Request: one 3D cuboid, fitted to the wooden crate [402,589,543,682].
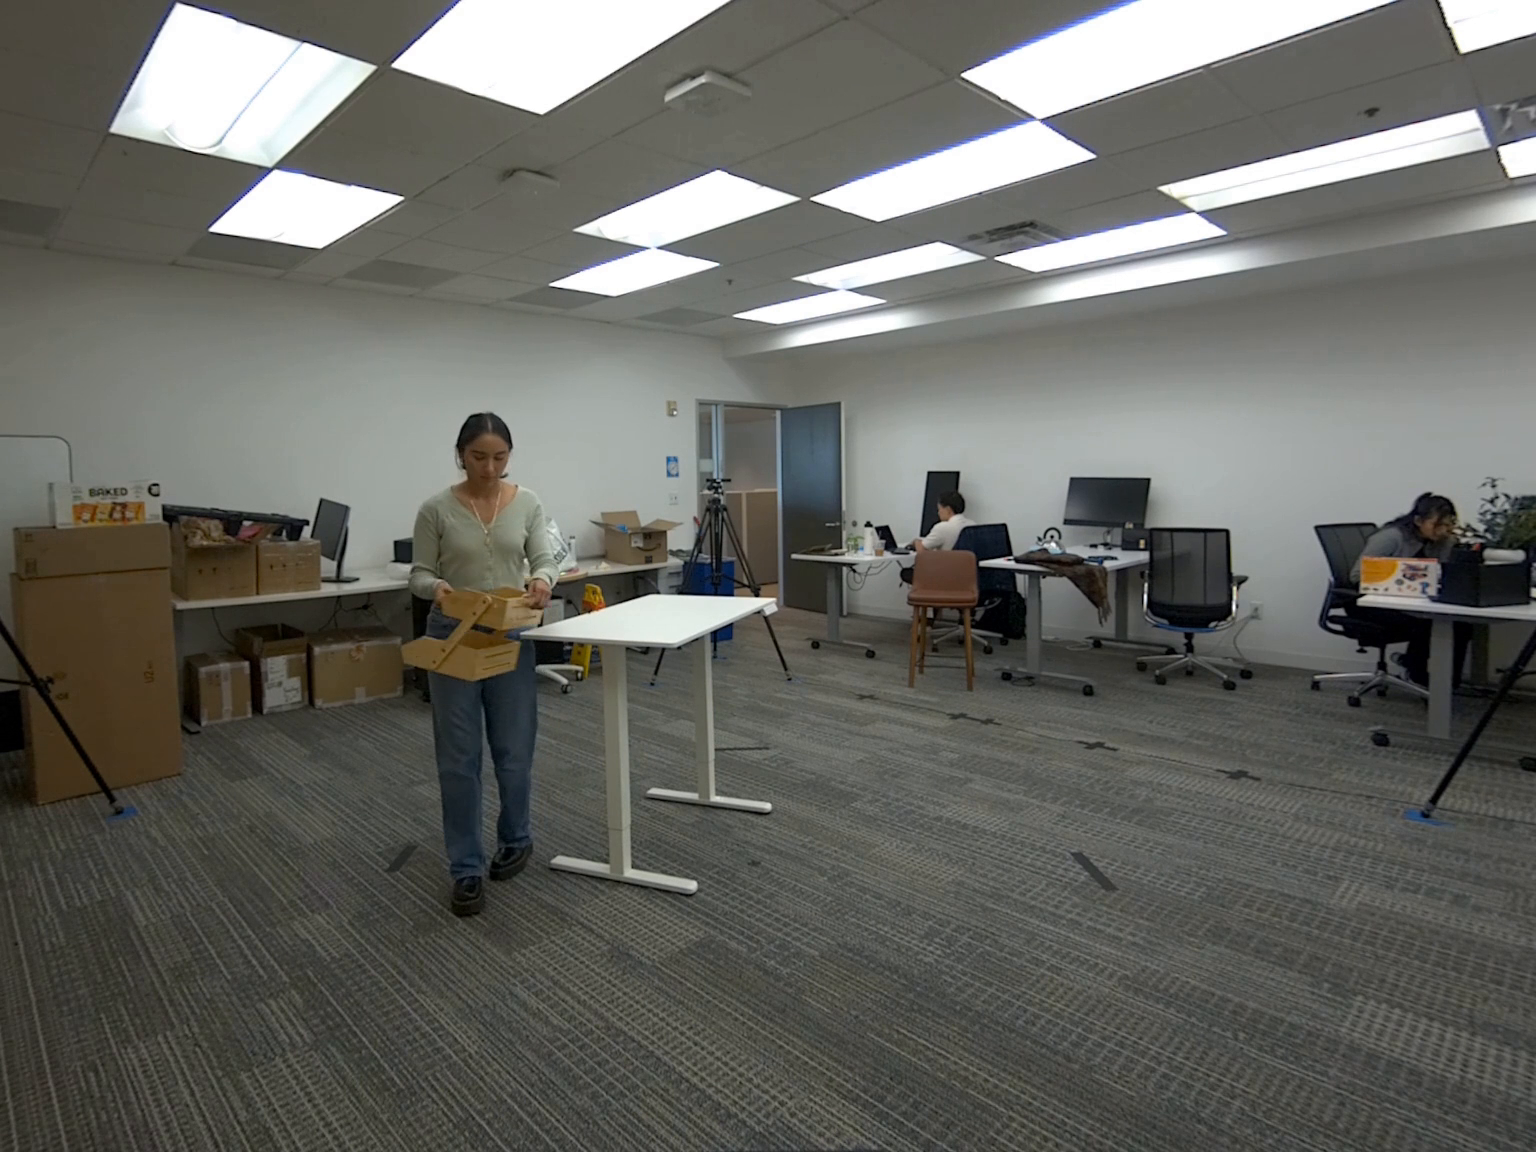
[{"bbox_3d":[-0.934,0.156,2.674,0.304,0.273,0.322,13,0,5],"label":"wooden crate"}]
